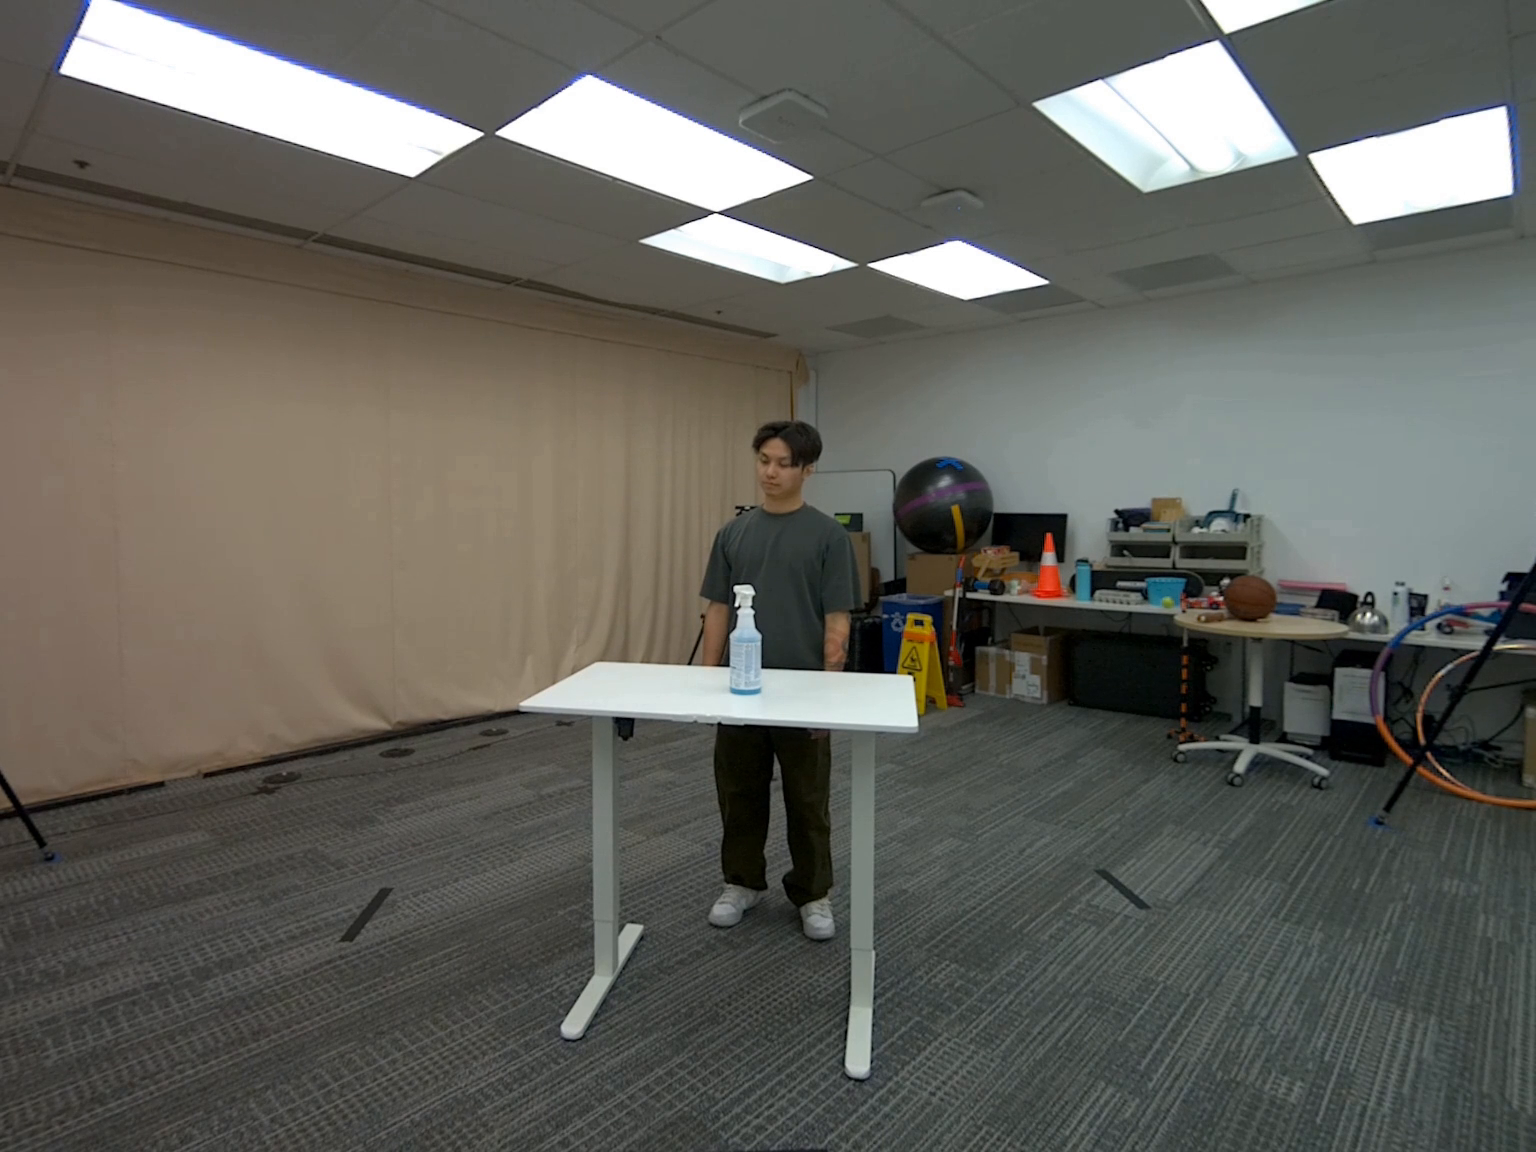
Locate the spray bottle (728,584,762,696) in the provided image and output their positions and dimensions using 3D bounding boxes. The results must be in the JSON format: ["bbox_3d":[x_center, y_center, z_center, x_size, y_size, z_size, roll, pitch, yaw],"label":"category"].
[{"bbox_3d":[-0.056,0.174,2.308,0.087,0.296,0.090,-1,5,-34],"label":"spray bottle"}]
